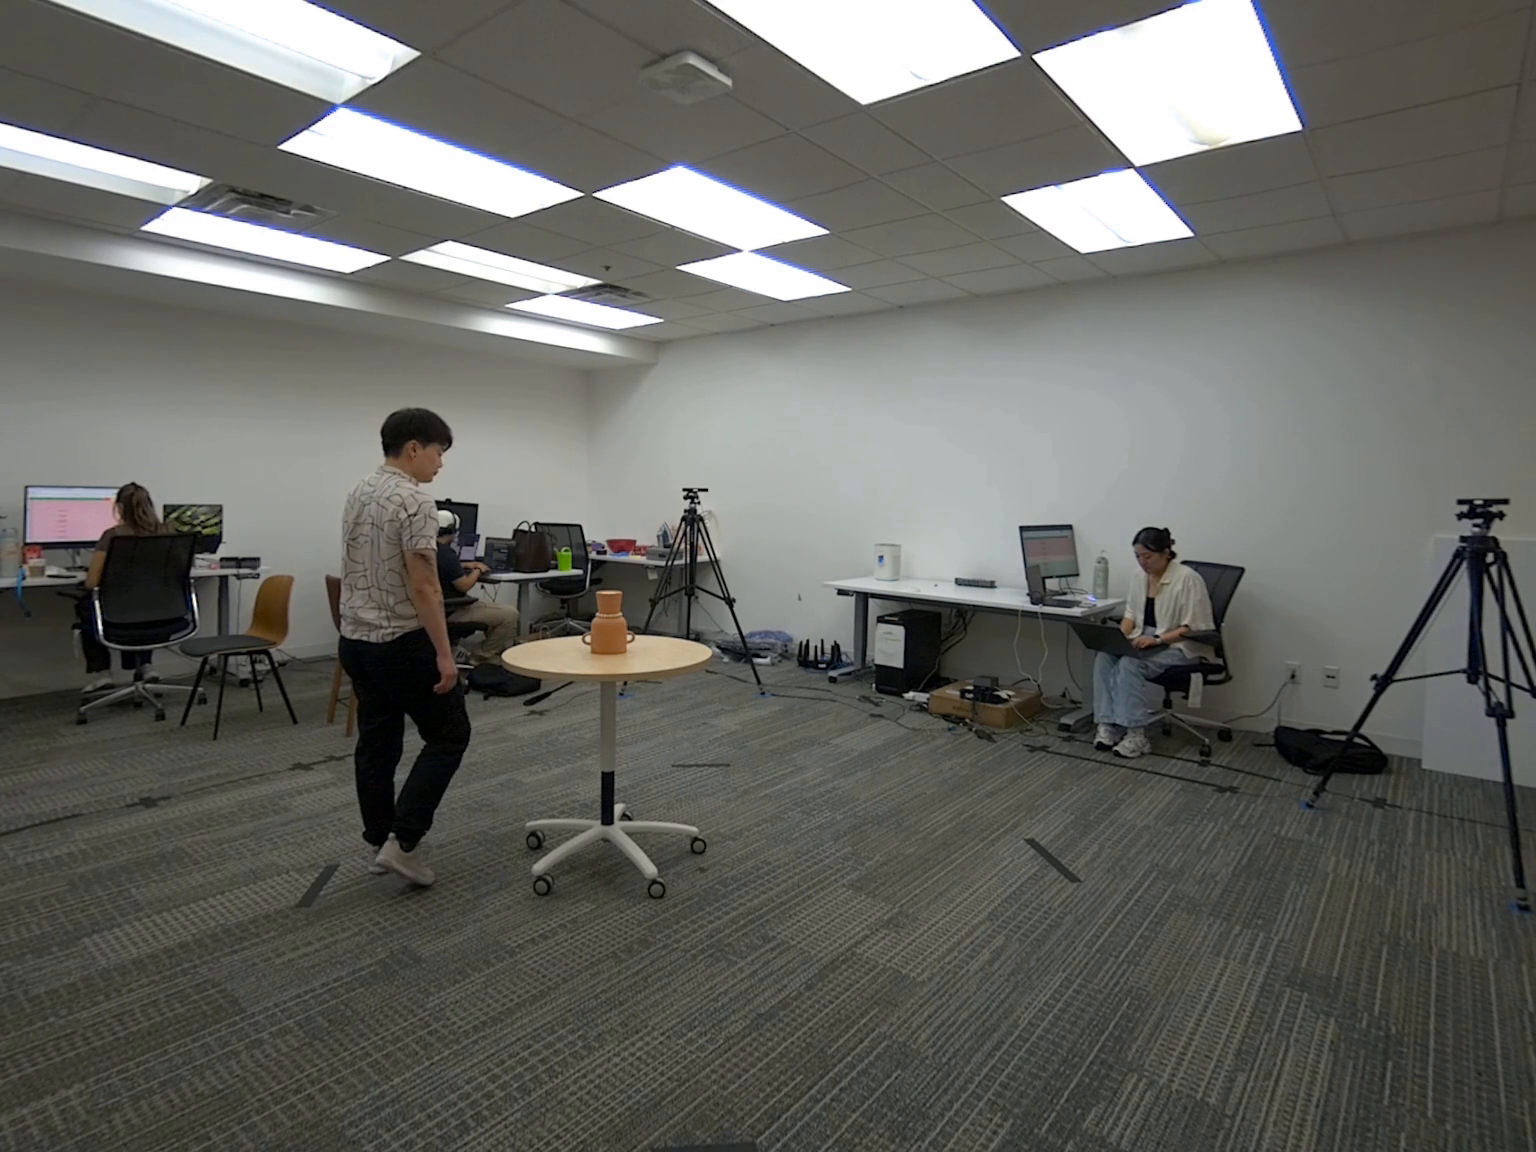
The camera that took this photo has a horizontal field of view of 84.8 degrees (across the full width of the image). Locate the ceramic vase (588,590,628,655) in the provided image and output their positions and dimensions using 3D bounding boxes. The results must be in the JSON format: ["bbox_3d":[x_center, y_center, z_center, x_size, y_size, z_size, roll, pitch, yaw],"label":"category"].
[{"bbox_3d":[-0.606,0.170,3.143,0.138,0.219,0.155,3,4,30],"label":"ceramic vase"}]
